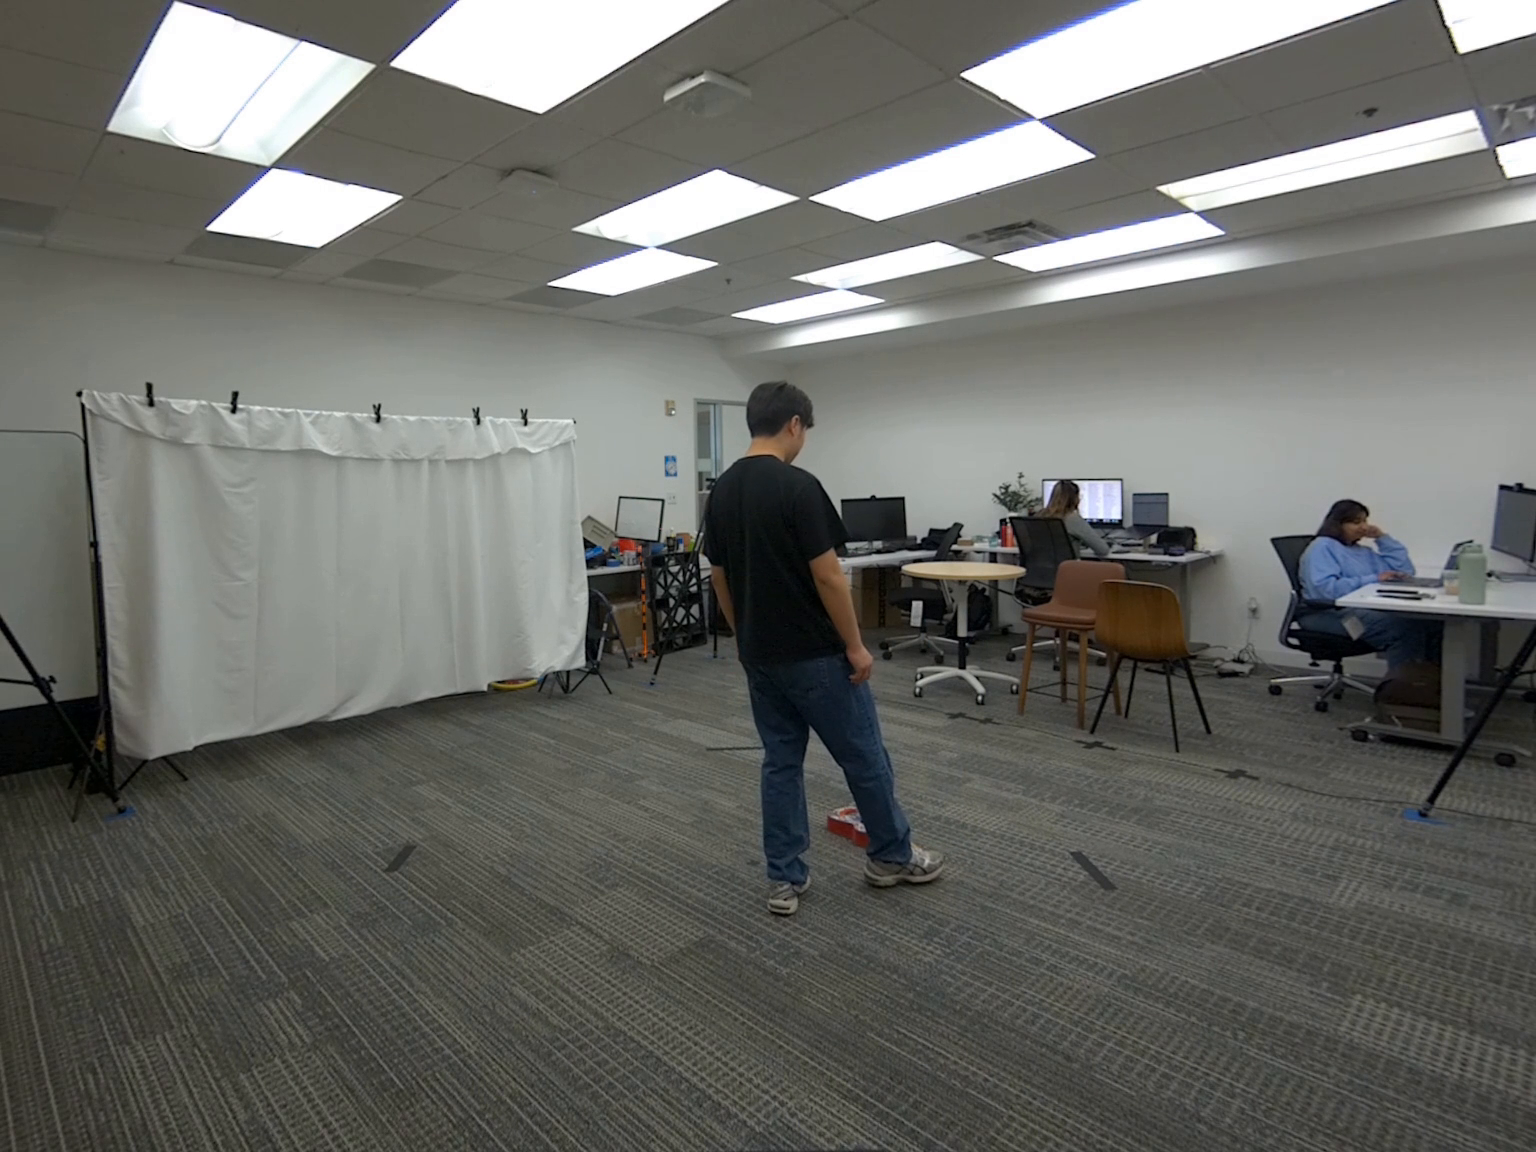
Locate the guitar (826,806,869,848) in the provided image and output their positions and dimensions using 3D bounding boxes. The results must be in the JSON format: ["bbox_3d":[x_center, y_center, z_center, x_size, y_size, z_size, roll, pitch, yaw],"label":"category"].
[{"bbox_3d":[0.393,0.986,3.237,0.190,0.070,0.508,-2,6,-19],"label":"guitar"}]
